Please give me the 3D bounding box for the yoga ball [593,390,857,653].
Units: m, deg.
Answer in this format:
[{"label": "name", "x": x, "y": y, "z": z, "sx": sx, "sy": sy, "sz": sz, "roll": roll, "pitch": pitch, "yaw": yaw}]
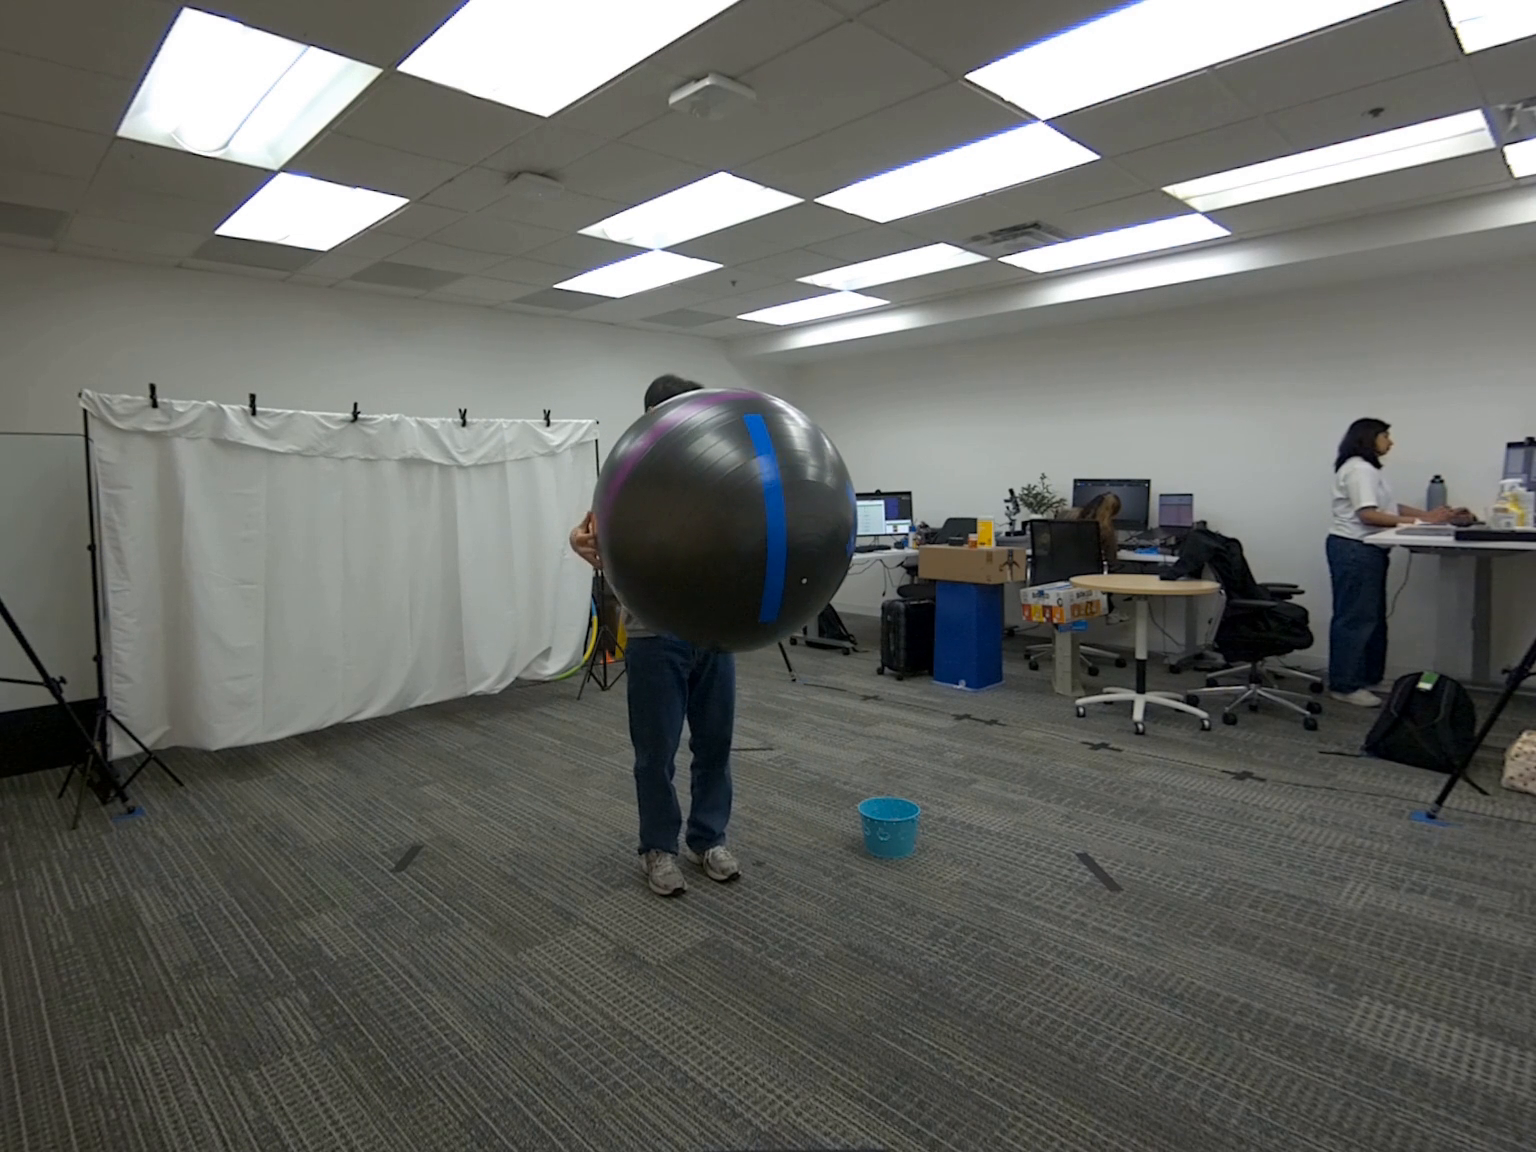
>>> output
[{"label": "yoga ball", "x": -0.122, "y": -0.153, "z": 2.453, "sx": 0.757, "sy": 0.755, "sz": 0.762, "roll": -1, "pitch": 5, "yaw": -2}]
